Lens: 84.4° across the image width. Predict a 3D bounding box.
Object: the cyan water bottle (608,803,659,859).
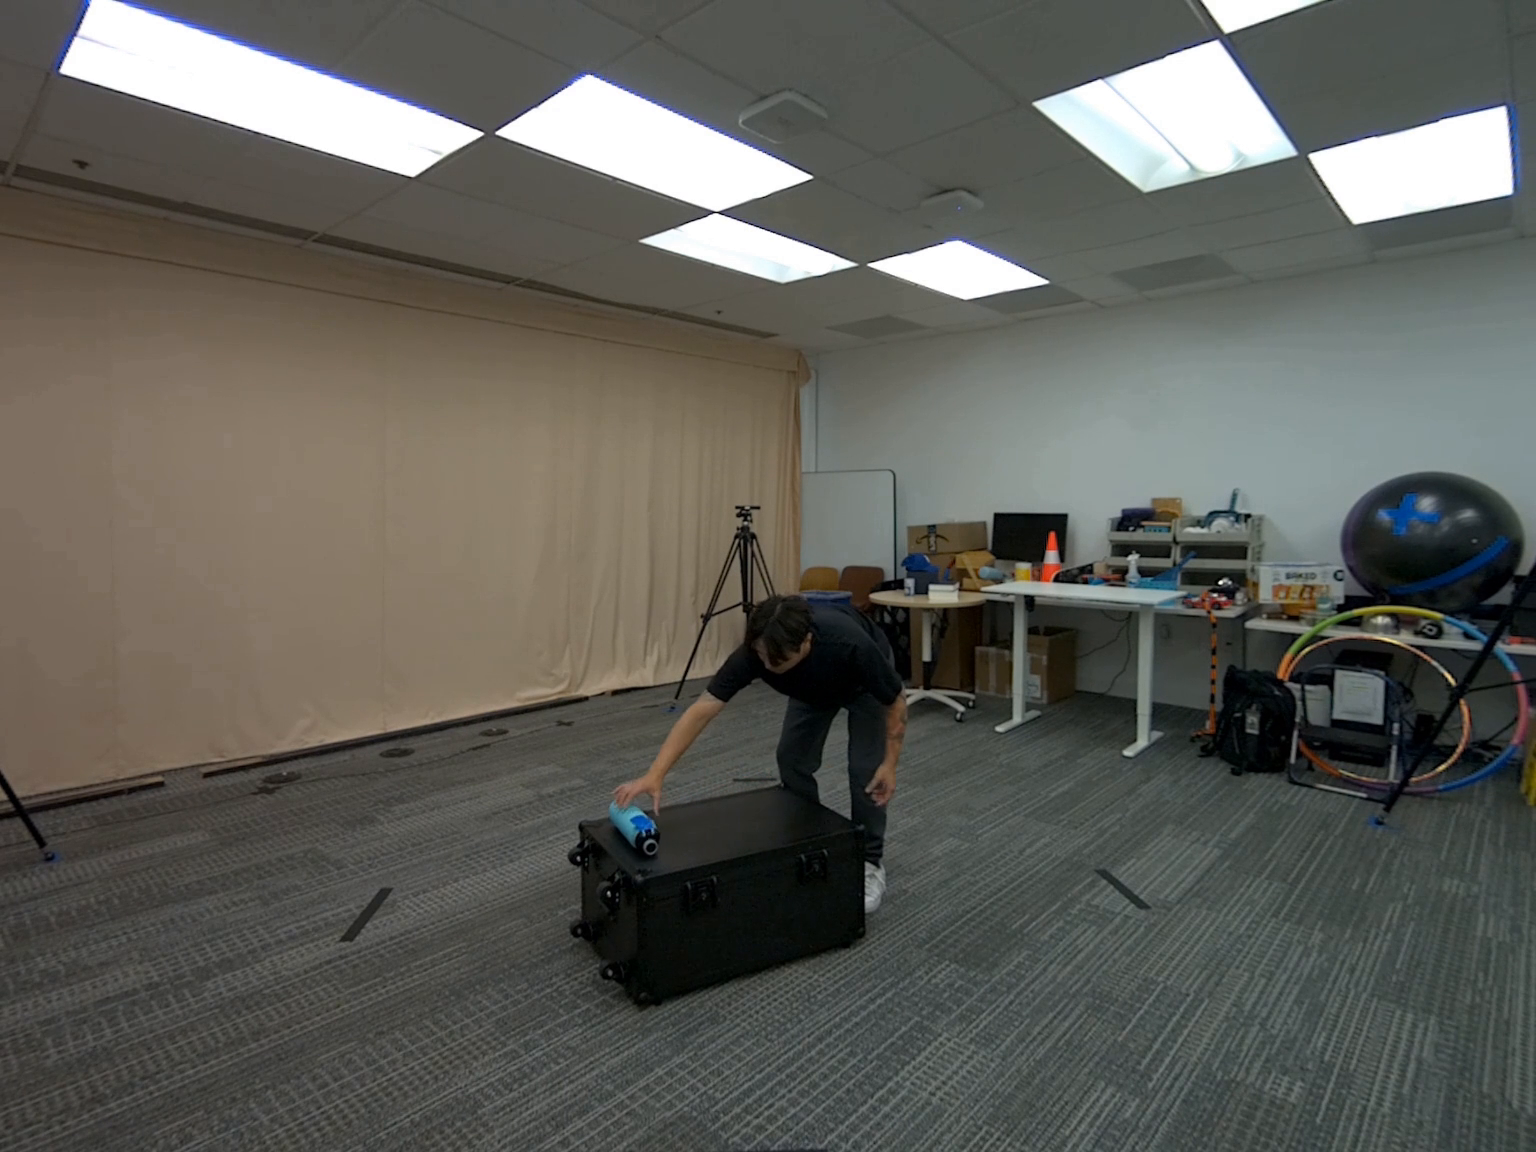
[{"bbox_3d":[-0.399,0.758,2.569,0.090,0.092,0.290,-2,6,-24],"label":"cyan water bottle"}]
